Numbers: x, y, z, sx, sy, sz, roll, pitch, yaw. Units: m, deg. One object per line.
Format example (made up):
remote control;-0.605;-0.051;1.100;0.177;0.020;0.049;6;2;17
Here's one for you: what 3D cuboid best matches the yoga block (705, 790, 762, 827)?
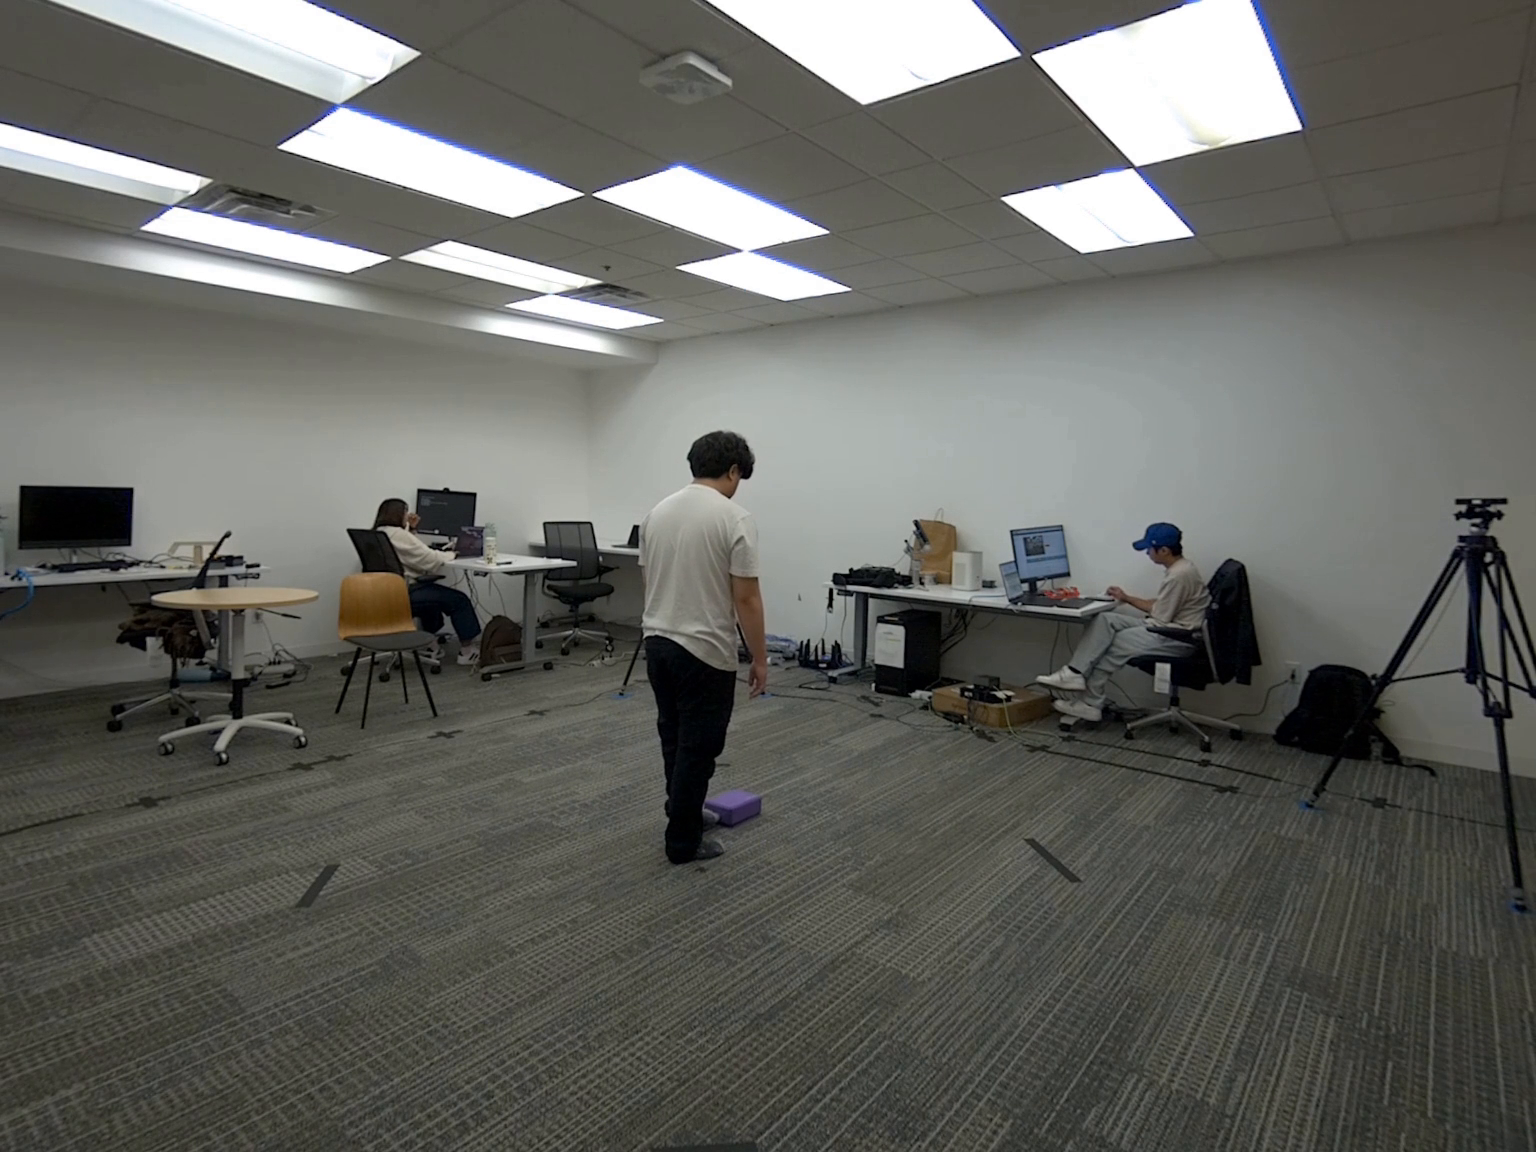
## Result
yoga block;-0.159;0.979;3.619;0.154;0.076;0.222;4;3;34
